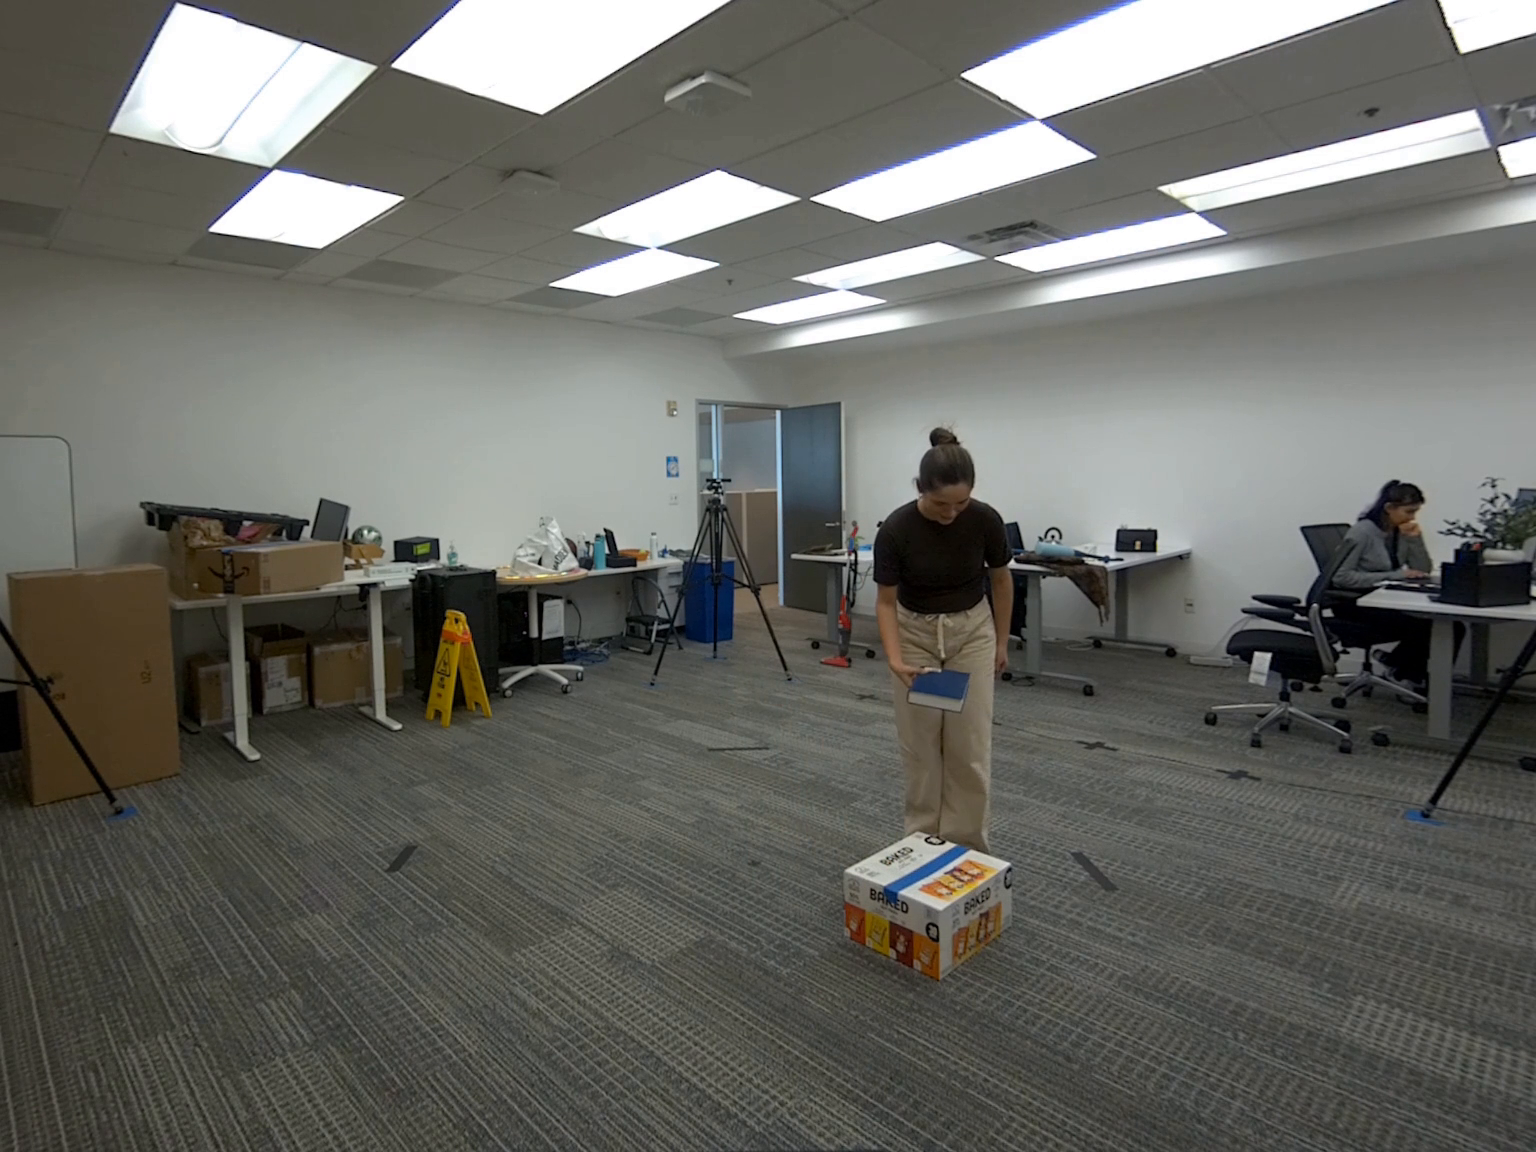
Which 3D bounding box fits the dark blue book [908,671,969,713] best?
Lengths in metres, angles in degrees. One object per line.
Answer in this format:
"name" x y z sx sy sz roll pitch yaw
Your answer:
"dark blue book" 0.532 0.353 2.678 0.167 0.045 0.243 6 14 19
